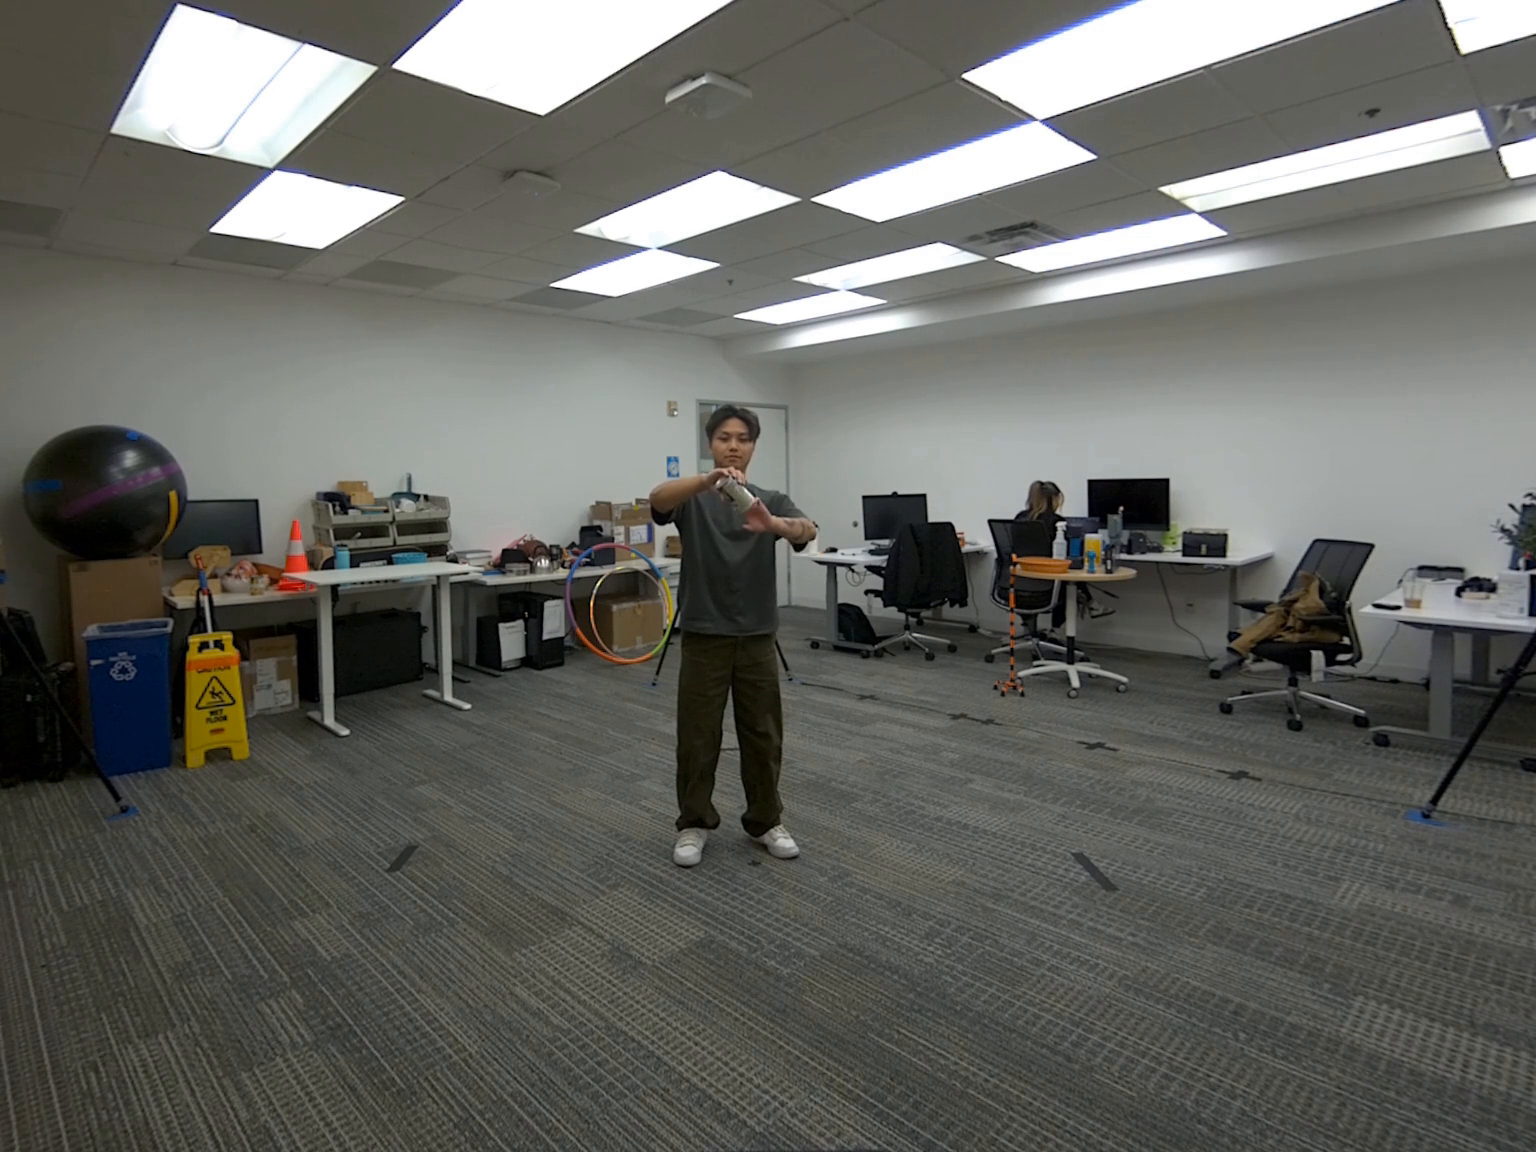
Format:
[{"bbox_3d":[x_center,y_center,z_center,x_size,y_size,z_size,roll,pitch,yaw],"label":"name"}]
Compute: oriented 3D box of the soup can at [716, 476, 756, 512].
[{"bbox_3d":[-0.113,-0.259,2.687,0.119,0.067,0.068,43,-10,-17],"label":"soup can"}]
